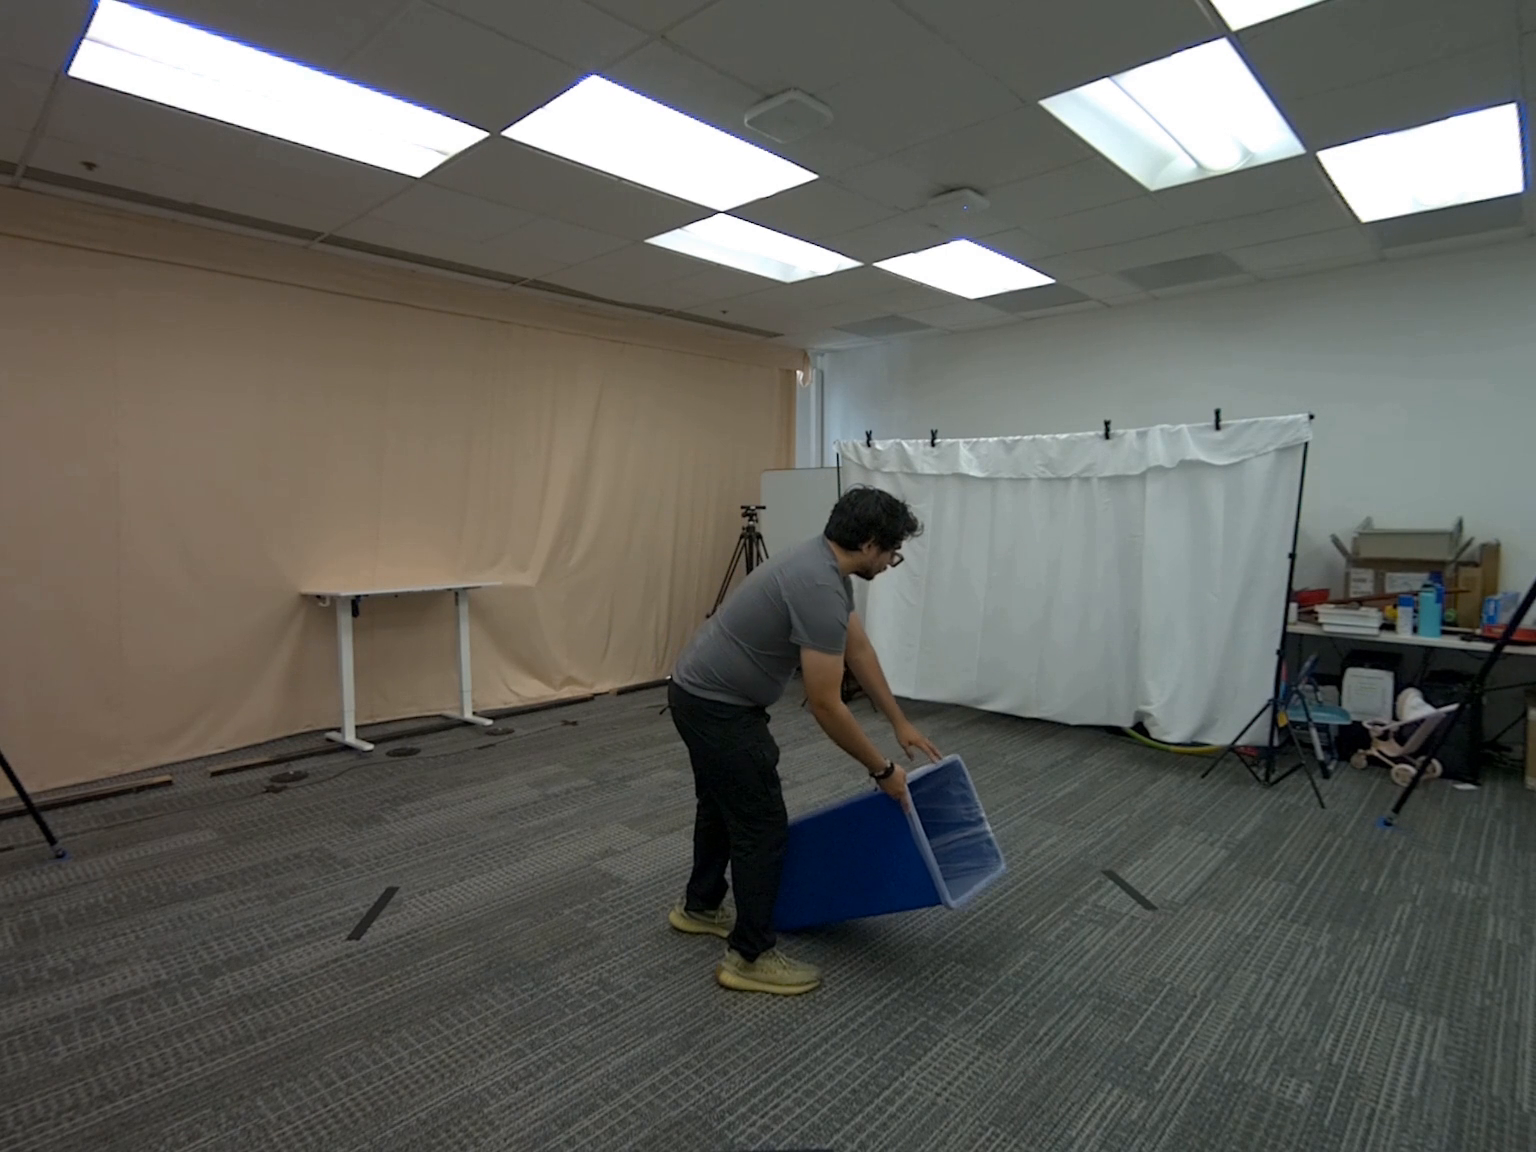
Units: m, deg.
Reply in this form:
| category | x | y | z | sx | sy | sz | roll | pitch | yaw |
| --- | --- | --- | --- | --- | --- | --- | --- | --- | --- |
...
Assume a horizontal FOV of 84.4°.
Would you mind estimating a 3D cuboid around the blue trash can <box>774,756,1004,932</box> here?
| category | x | y | z | sx | sy | sz | roll | pitch | yaw |
| --- | --- | --- | --- | --- | --- | --- | --- | --- | --- |
| blue trash can | 0.302 | 0.871 | 2.671 | 0.726 | 0.379 | 0.367 | -30 | -16 | 37 |
